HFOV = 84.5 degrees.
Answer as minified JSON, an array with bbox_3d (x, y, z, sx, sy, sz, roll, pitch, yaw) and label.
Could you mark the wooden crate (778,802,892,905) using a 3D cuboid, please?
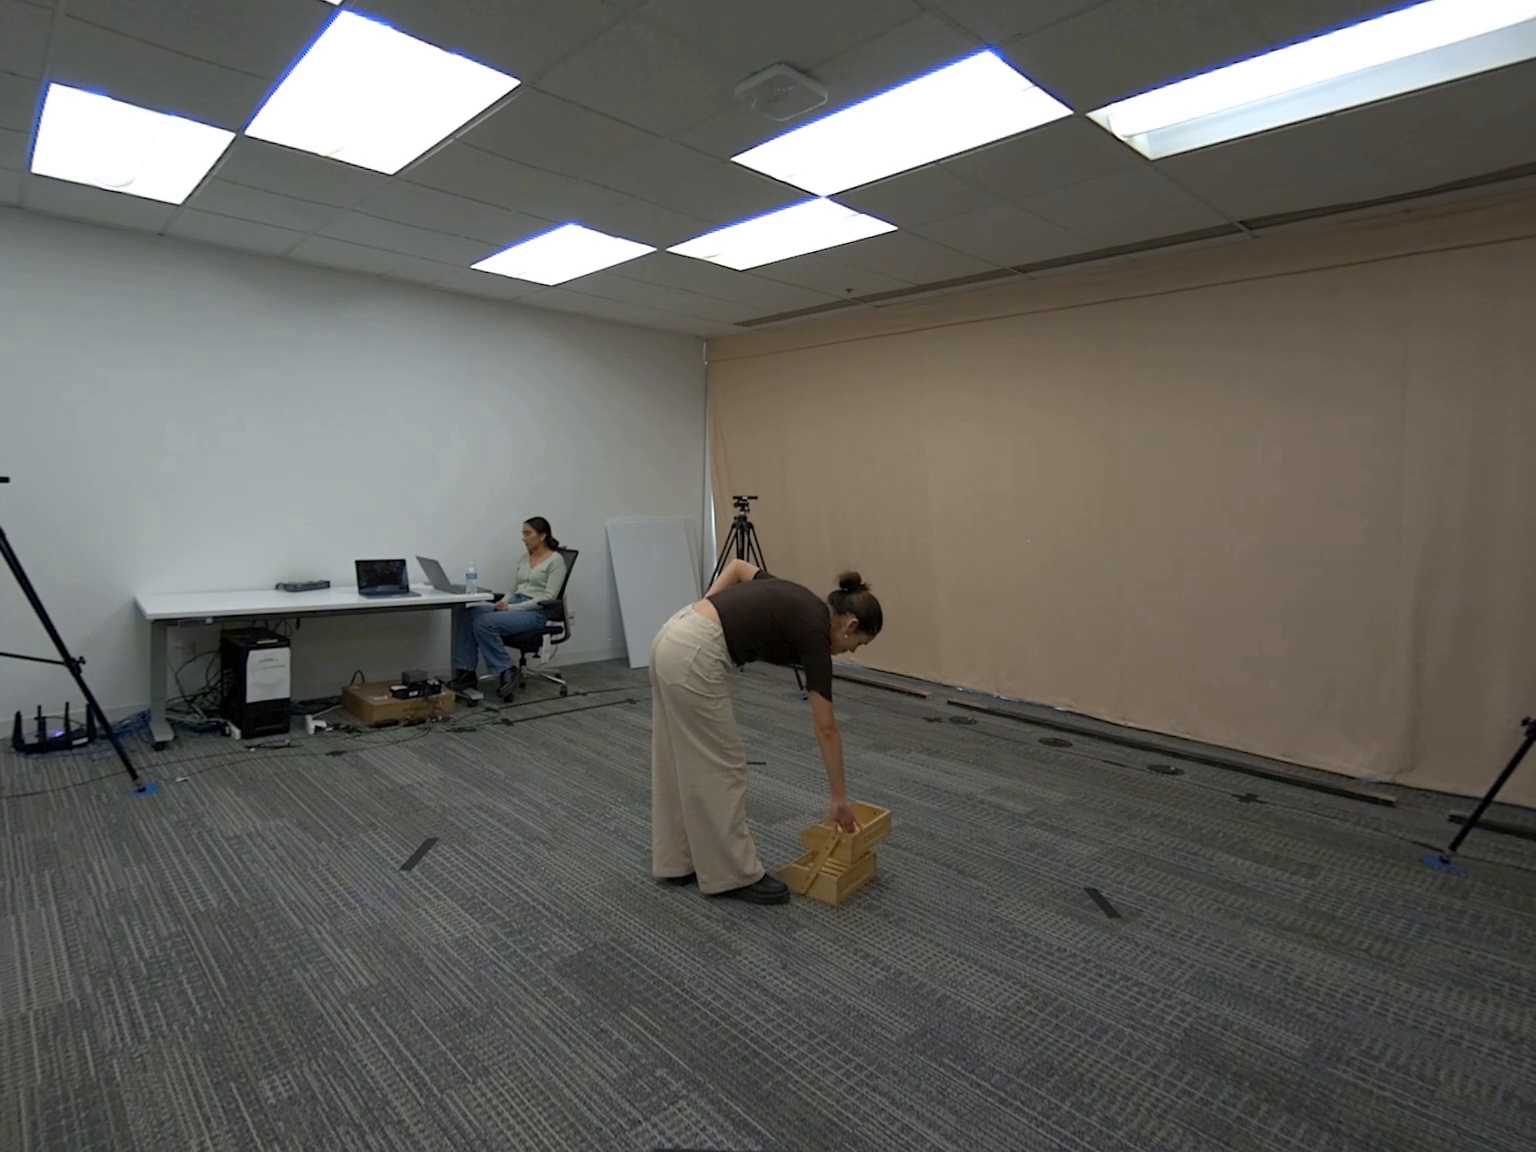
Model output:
[{"bbox_3d":[0.227,0.978,3.050,0.309,0.272,0.318,5,6,35],"label":"wooden crate"}]
